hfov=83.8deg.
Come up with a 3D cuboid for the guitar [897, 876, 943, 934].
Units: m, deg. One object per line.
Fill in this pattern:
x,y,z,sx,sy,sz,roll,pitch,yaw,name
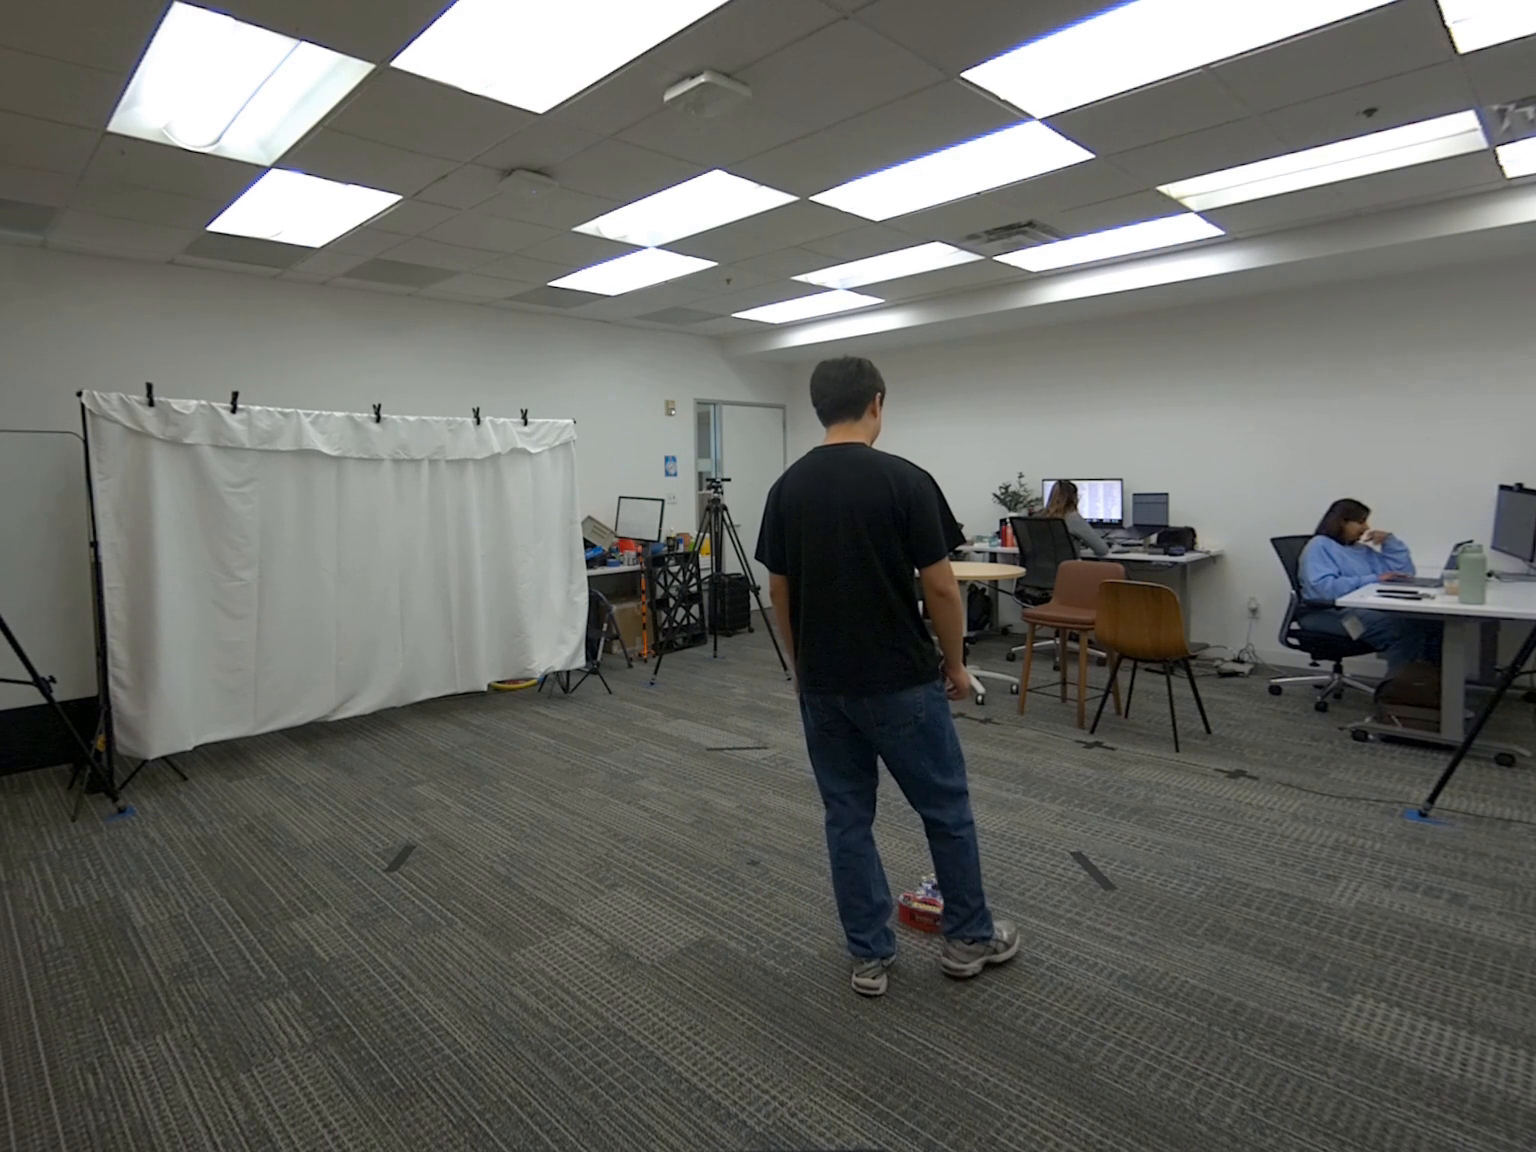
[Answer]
0.619,1.032,2.818,0.198,0.070,0.486,3,8,36,guitar
